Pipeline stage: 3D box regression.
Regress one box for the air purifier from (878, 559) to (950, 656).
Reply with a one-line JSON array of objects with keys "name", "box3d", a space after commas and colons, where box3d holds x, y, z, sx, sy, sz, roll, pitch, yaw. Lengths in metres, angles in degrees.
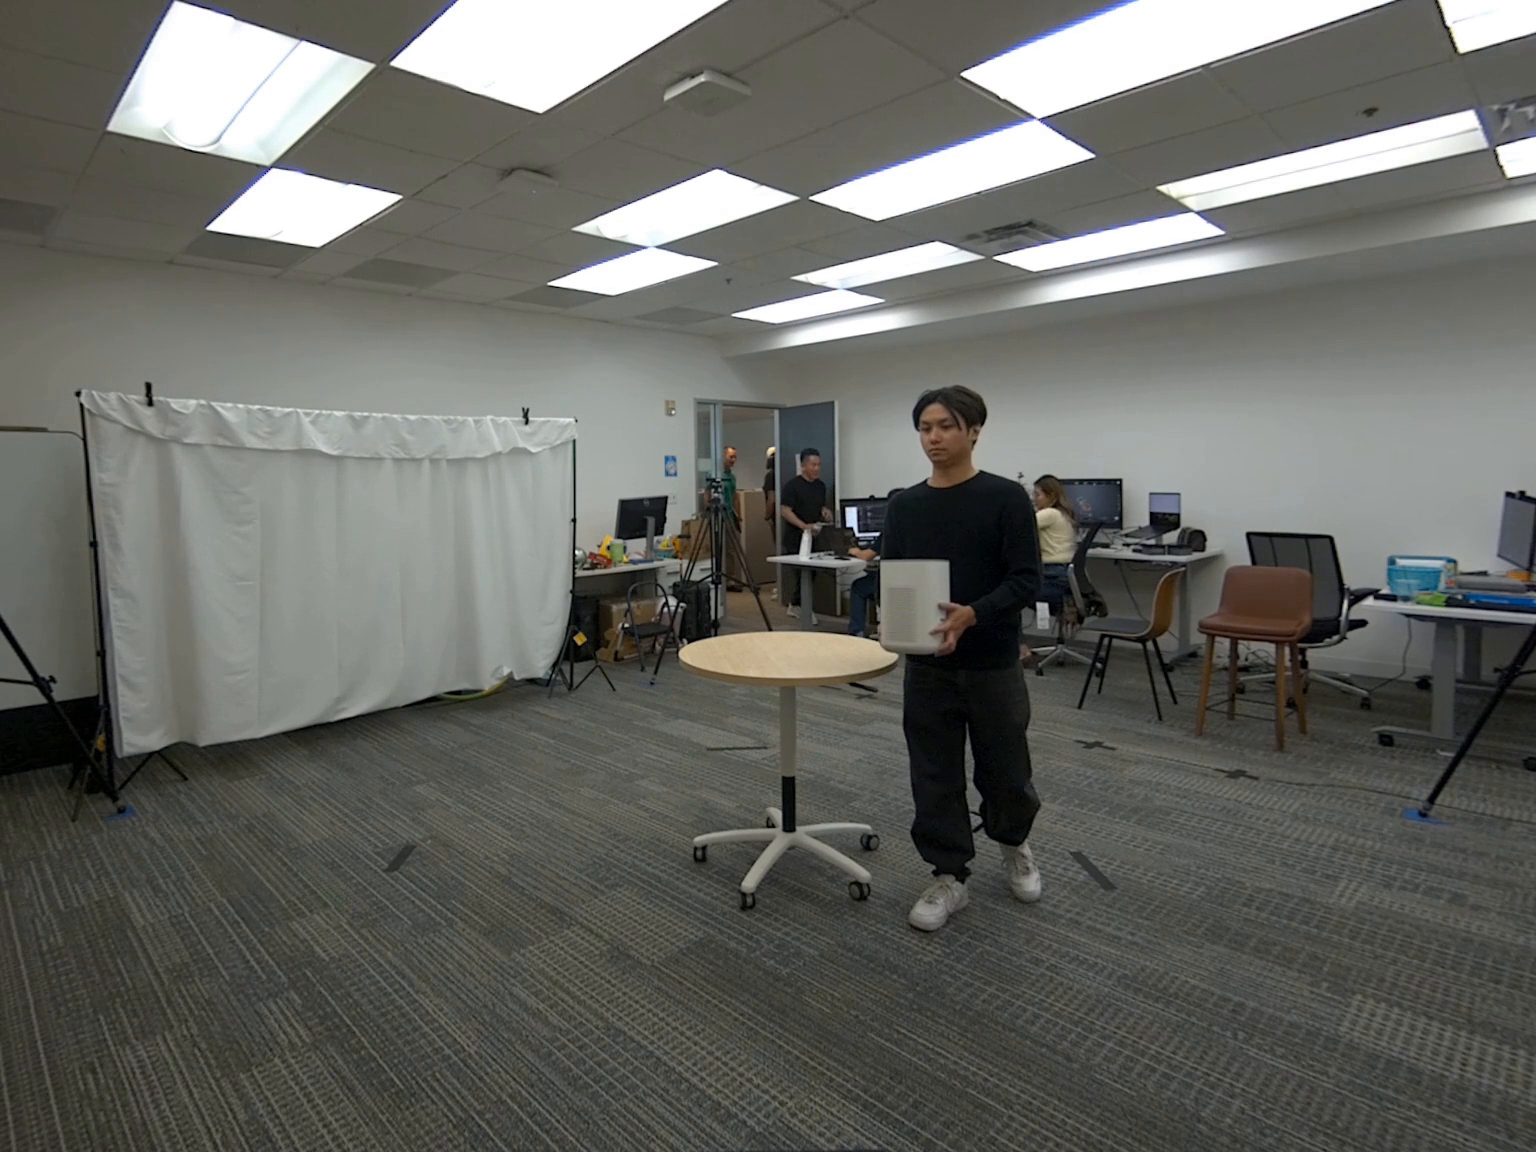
[{"name": "air purifier", "box3d": [0.437, 0.089, 2.465, 0.176, 0.266, 0.166, -3, -3, 36]}]
